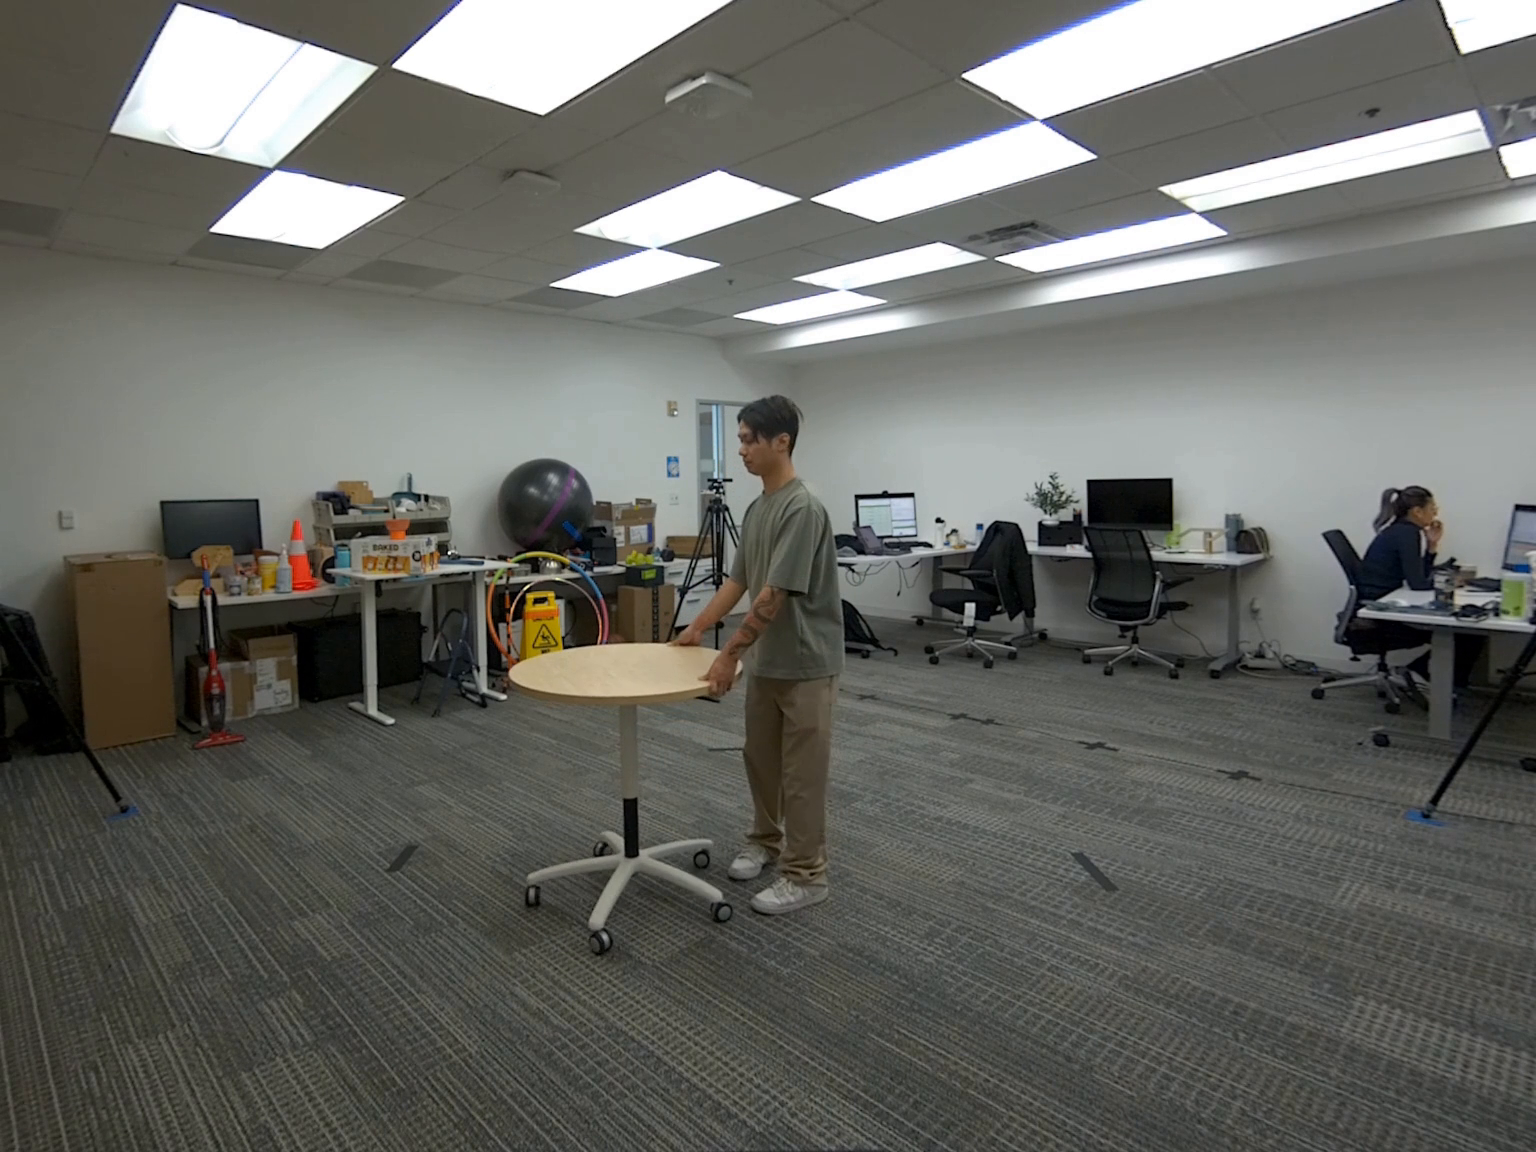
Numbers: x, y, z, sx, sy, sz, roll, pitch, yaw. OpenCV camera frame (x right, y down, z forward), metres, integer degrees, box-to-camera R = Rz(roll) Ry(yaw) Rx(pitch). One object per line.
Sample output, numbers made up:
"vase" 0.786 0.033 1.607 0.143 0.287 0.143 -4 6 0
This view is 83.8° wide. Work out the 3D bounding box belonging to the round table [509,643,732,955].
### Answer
"round table" -0.467 0.685 2.855 0.784 0.783 0.789 0 5 -2
